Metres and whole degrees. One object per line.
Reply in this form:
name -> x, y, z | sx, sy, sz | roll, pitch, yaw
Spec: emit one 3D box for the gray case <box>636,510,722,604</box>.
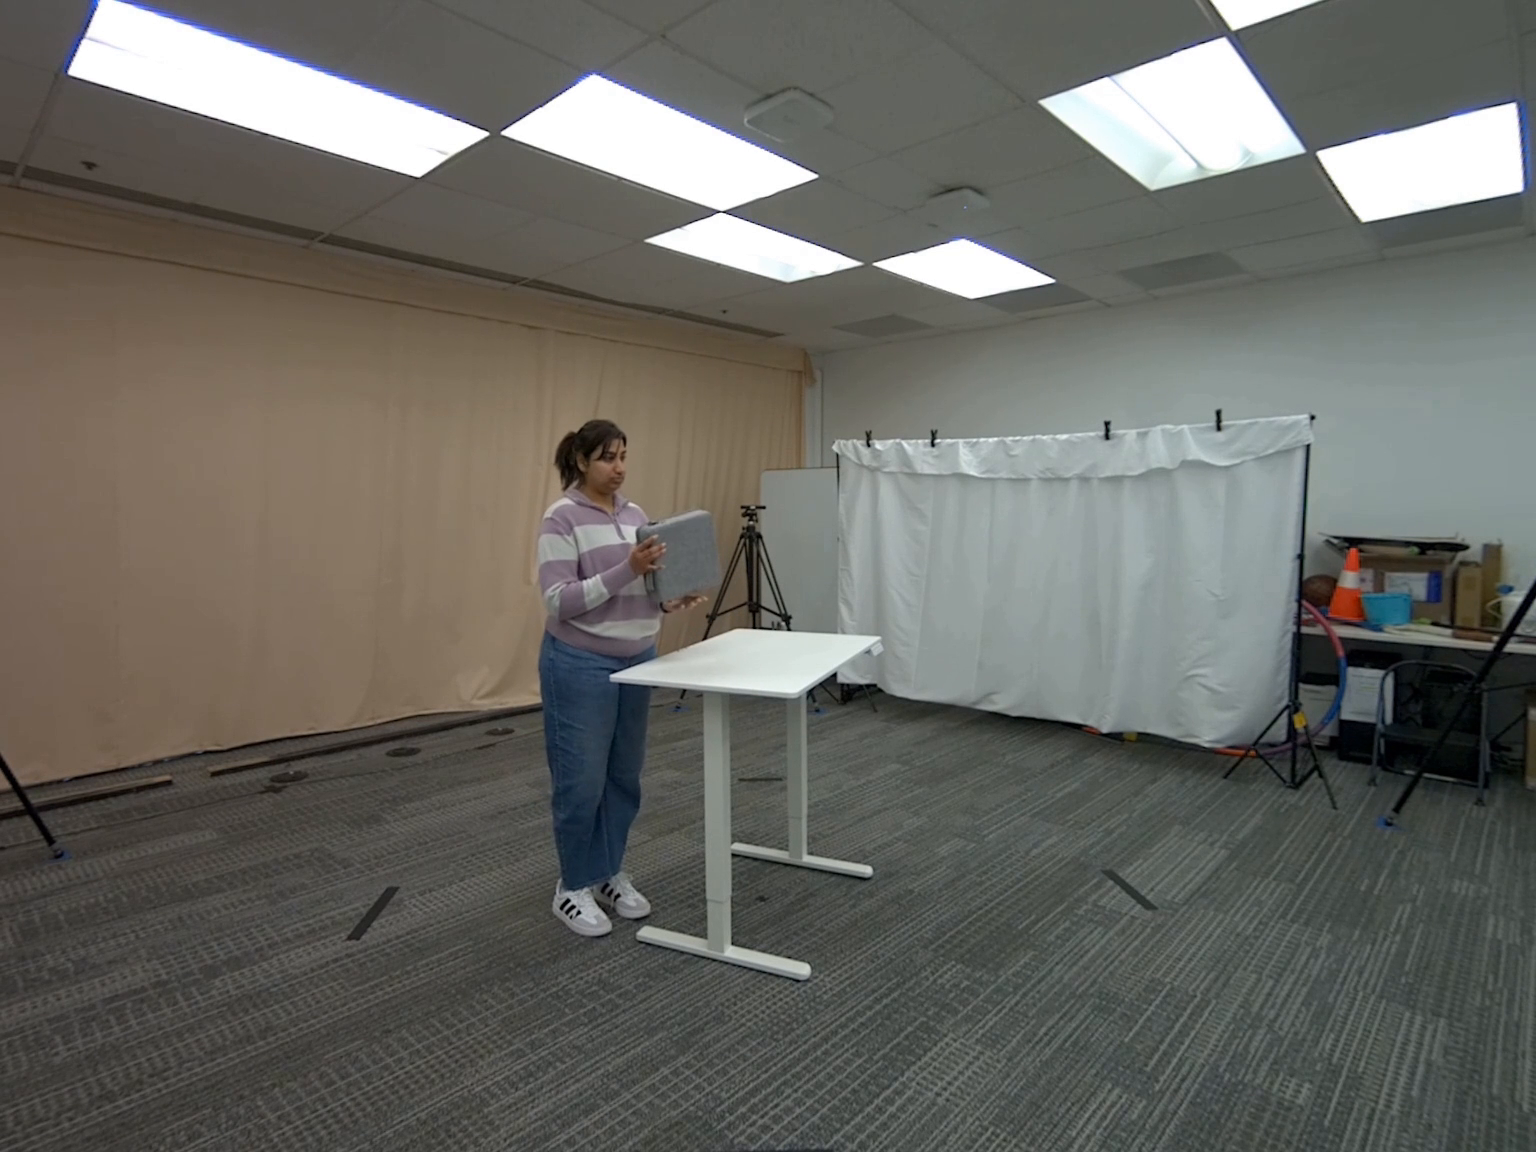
gray case -> -0.279, -0.066, 2.686 | 0.255, 0.254, 0.108 | -19, 18, -34
